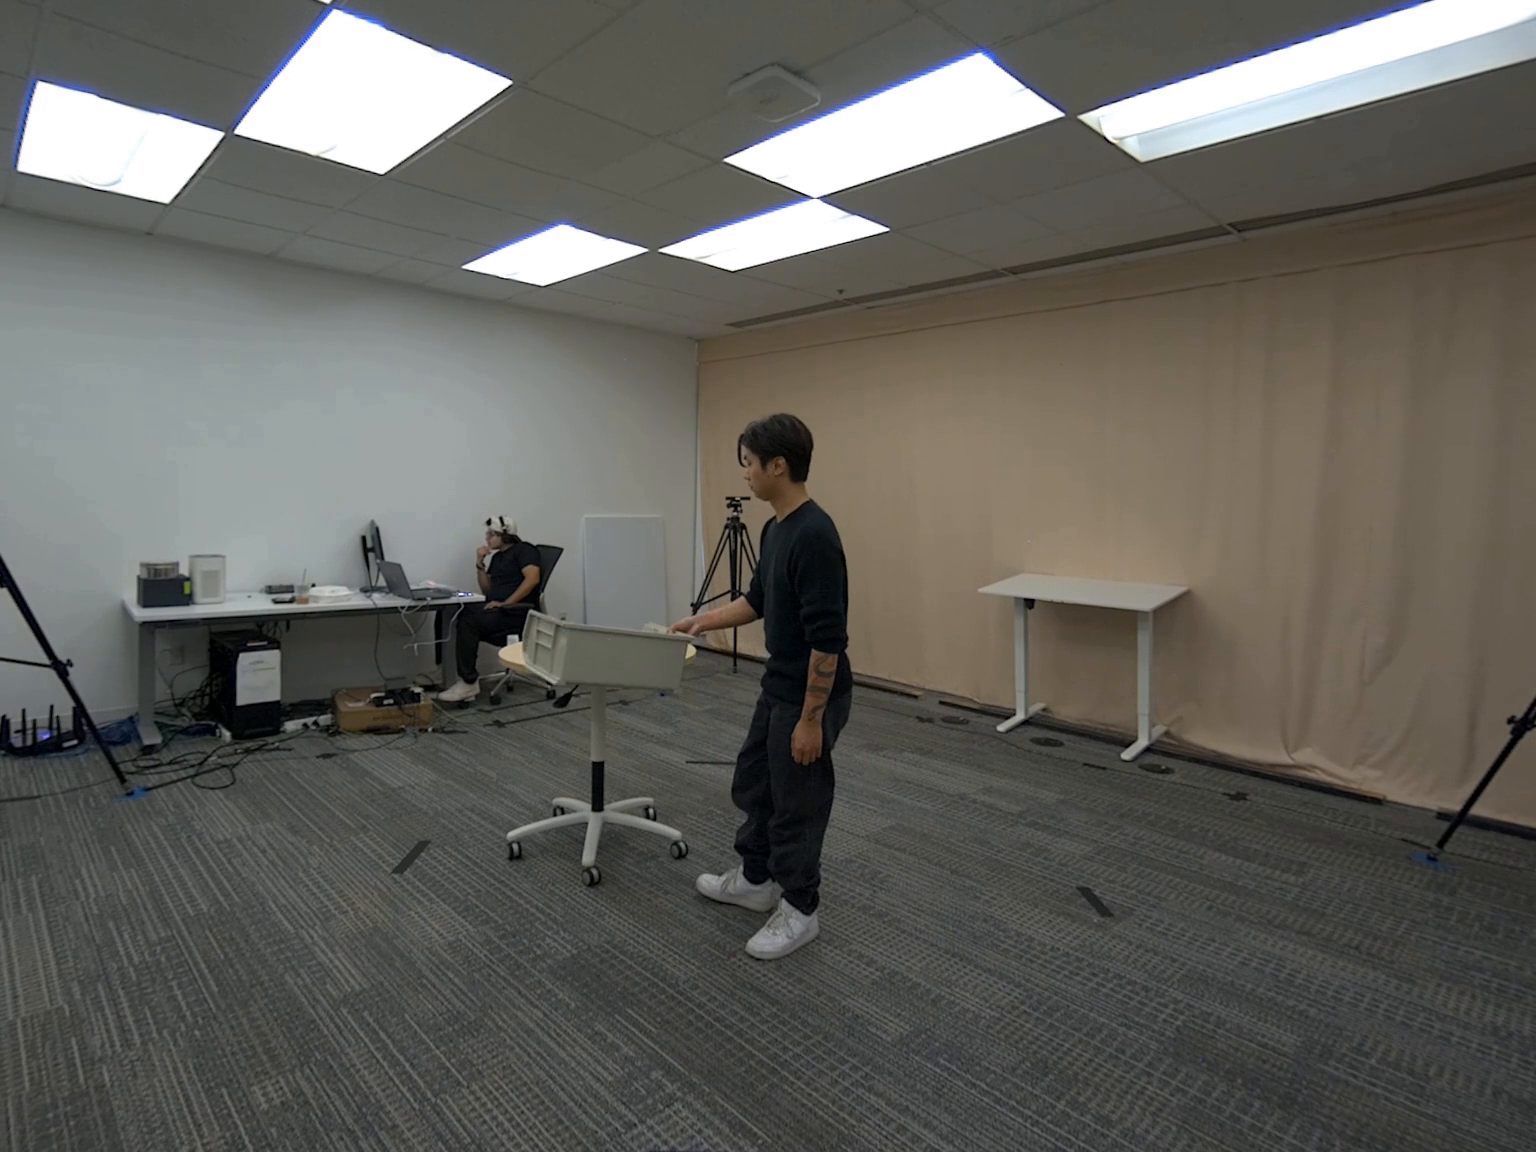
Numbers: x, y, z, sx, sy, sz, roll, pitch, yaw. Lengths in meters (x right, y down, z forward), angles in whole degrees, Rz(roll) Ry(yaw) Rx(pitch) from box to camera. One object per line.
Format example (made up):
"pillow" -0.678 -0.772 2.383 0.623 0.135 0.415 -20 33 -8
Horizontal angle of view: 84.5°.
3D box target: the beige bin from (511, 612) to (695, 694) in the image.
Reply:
"beige bin" -0.511 0.234 2.636 0.412 0.189 0.386 9 1 -31
